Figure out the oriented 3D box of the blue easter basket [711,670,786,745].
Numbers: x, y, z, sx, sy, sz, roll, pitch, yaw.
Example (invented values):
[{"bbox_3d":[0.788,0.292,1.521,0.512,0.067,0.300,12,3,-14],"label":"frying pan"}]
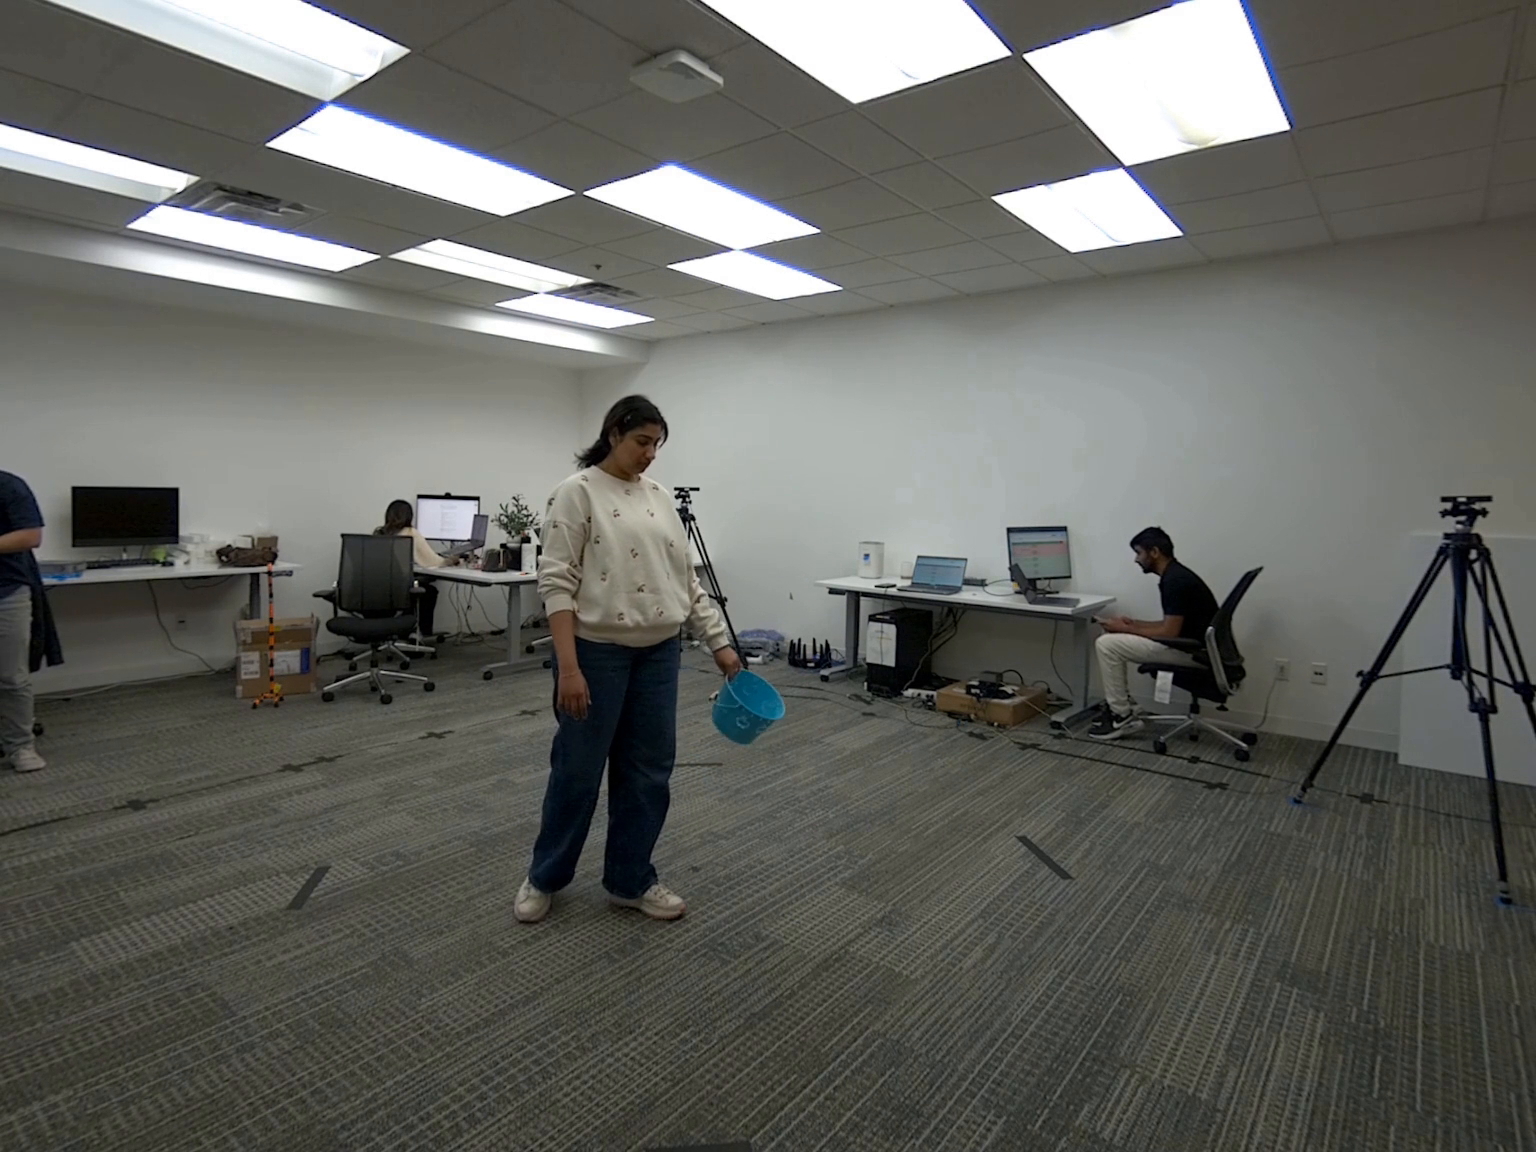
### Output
[{"bbox_3d":[-0.104,0.438,2.899,0.239,0.155,0.250,28,24,-16],"label":"blue easter basket"}]
